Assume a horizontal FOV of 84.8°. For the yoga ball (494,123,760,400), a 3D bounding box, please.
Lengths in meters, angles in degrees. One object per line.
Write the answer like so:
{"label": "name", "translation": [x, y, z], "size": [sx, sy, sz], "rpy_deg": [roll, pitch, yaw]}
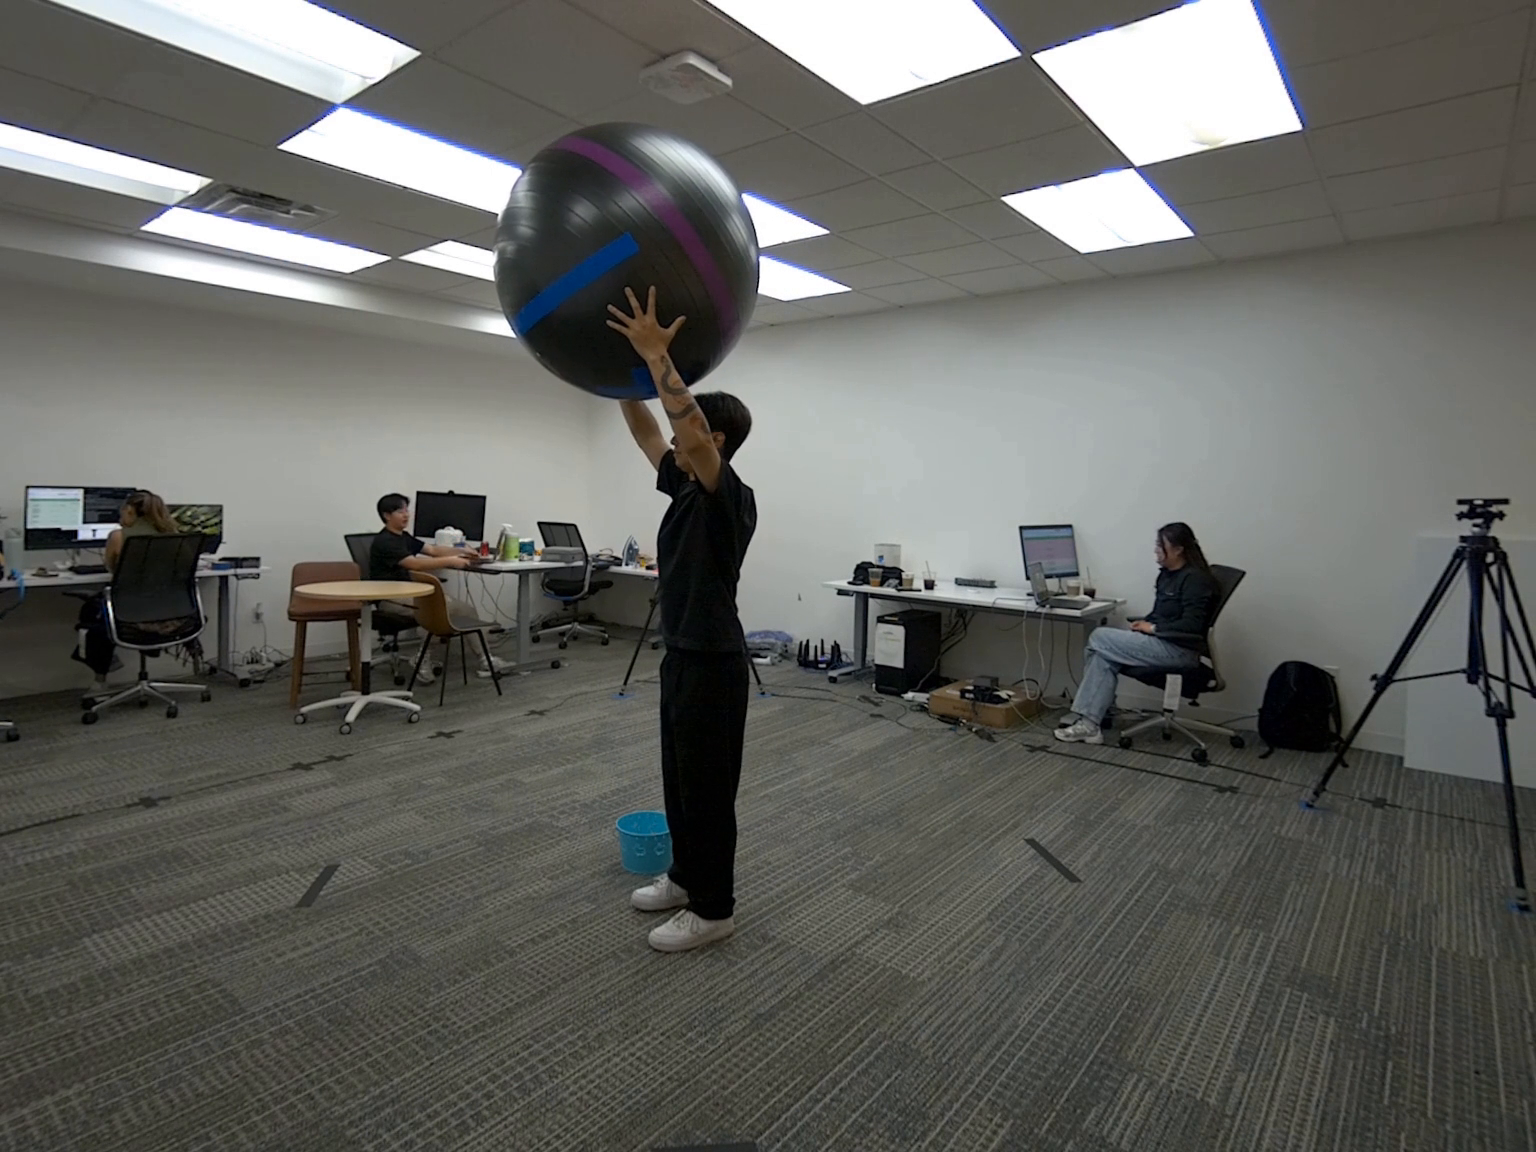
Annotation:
{"label": "yoga ball", "translation": [-0.408, -0.888, 2.453], "size": [0.757, 0.755, 0.762], "rpy_deg": [1, 4, -2]}
